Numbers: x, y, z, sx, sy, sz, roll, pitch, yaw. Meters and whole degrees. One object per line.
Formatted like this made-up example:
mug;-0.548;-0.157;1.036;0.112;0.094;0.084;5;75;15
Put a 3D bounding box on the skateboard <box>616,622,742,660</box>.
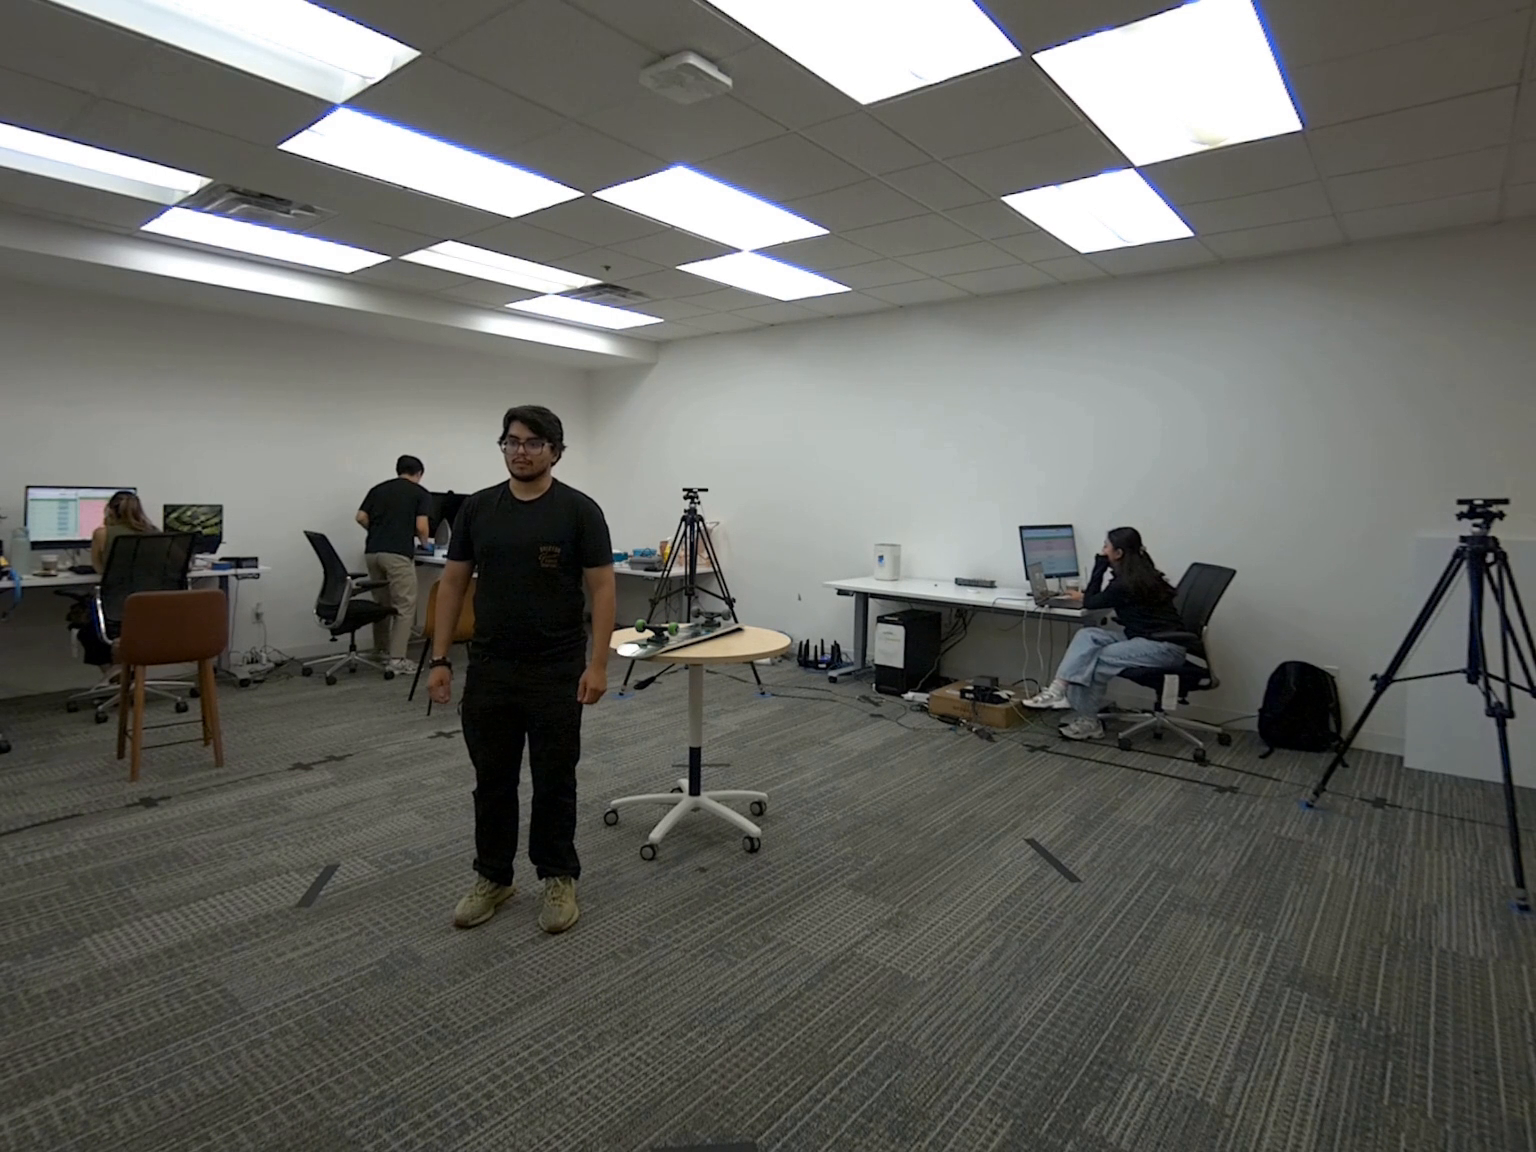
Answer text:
skateboard;-0.349;0.216;3.426;0.199;0.110;0.766;4;8;30
